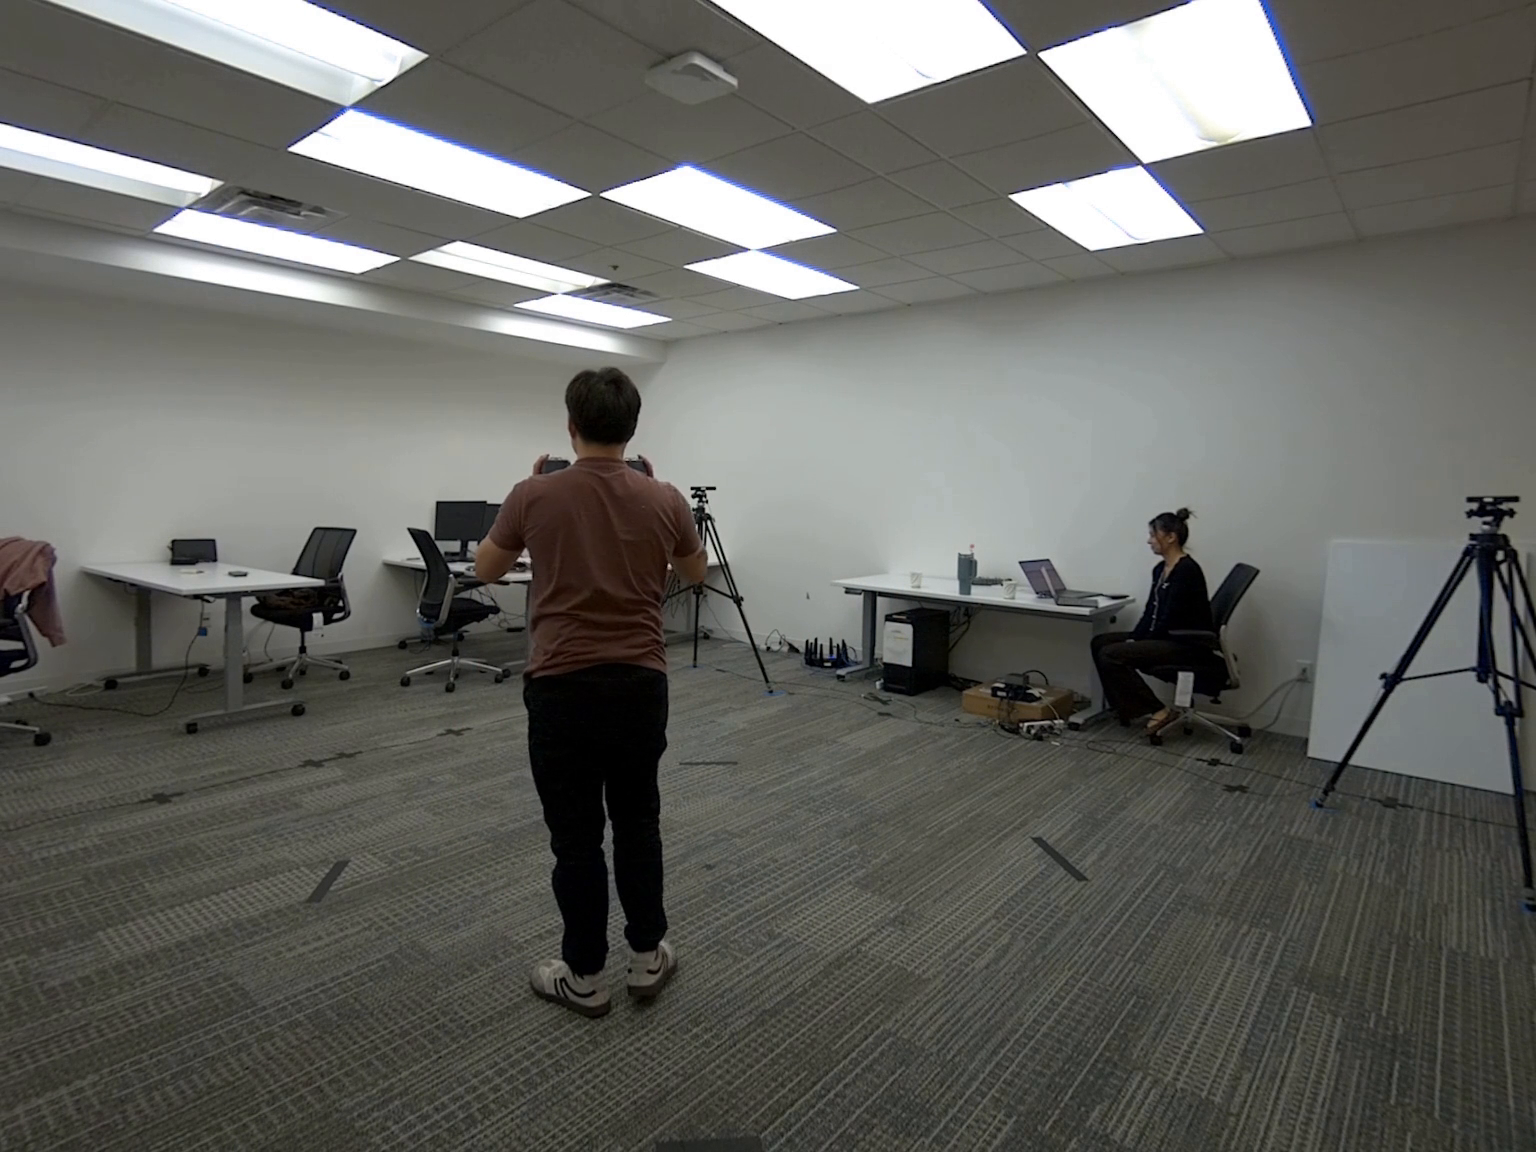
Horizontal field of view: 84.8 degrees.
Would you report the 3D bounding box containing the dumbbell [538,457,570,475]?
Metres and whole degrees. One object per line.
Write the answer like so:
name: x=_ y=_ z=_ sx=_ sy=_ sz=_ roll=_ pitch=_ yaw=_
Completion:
dumbbell: x=-0.496 y=-0.278 z=2.419 sx=0.290 sy=0.107 sz=0.126 roll=-2 pitch=18 yaw=-12
